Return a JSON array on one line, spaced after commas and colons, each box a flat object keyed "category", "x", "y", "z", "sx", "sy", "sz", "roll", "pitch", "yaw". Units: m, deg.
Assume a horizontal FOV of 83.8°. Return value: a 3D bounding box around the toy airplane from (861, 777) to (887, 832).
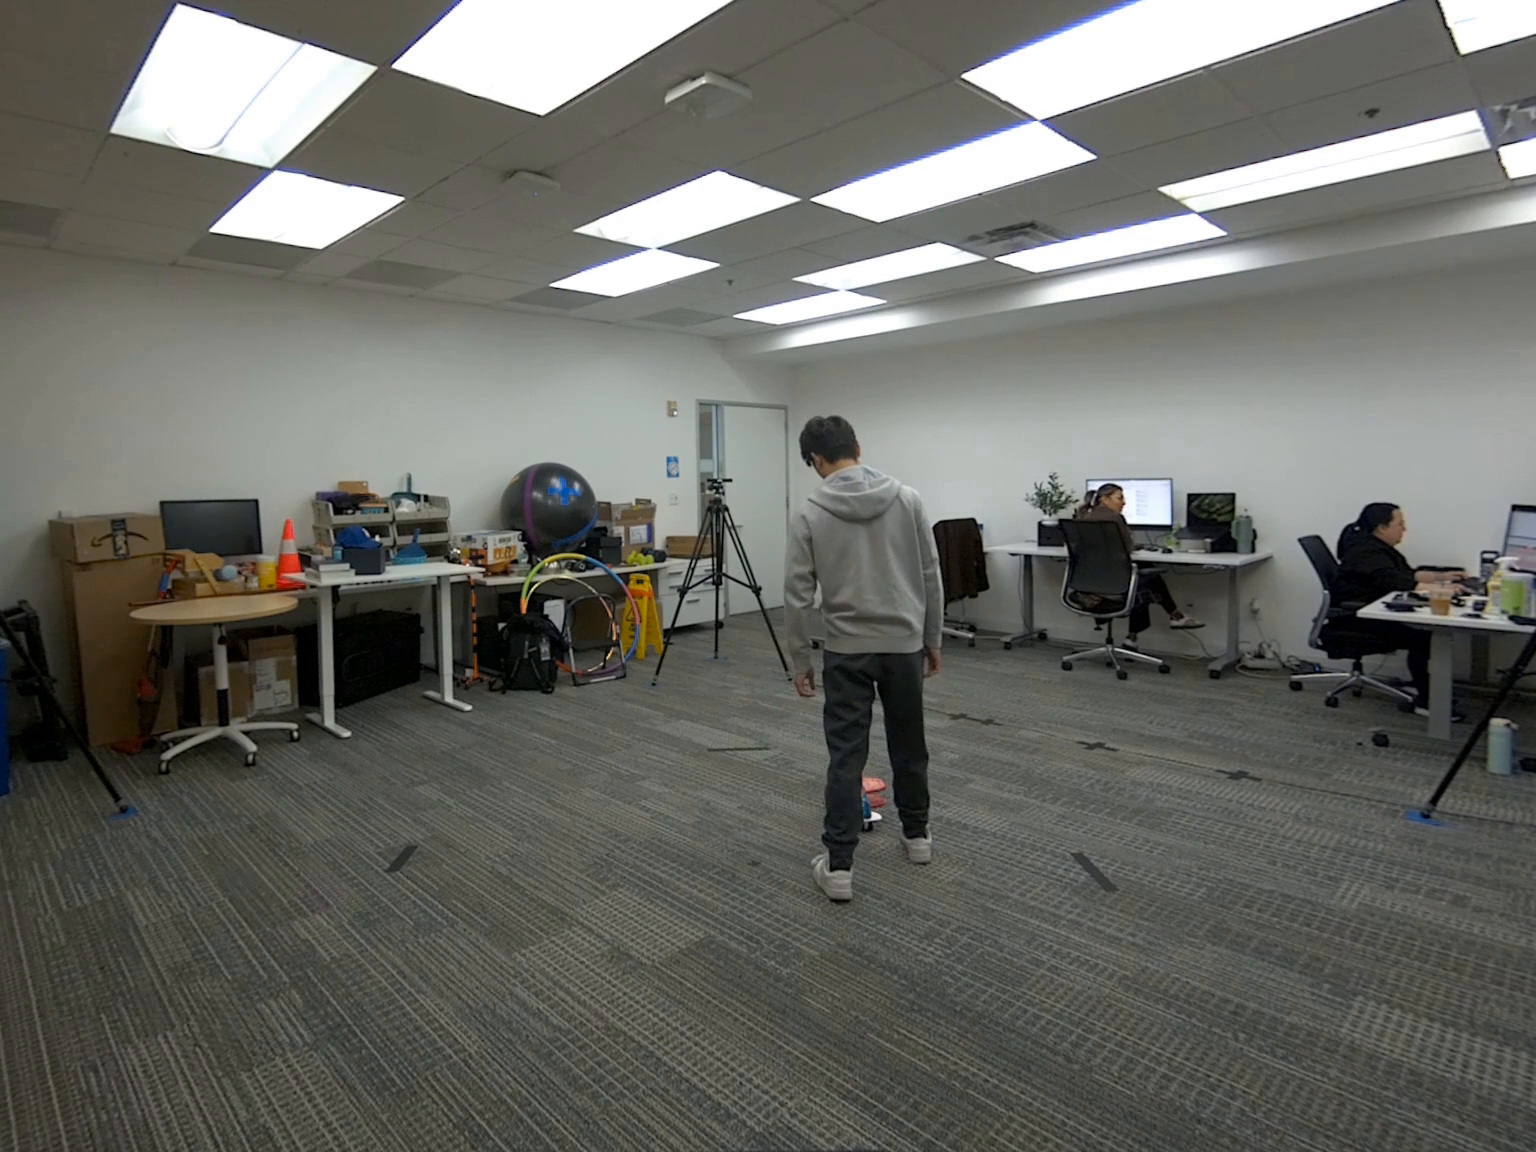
[{"category": "toy airplane", "x": 0.390, "y": 0.926, "z": 3.477, "sx": 0.244, "sy": 0.156, "sz": 0.267, "roll": -4, "pitch": 6, "yaw": -37}]
